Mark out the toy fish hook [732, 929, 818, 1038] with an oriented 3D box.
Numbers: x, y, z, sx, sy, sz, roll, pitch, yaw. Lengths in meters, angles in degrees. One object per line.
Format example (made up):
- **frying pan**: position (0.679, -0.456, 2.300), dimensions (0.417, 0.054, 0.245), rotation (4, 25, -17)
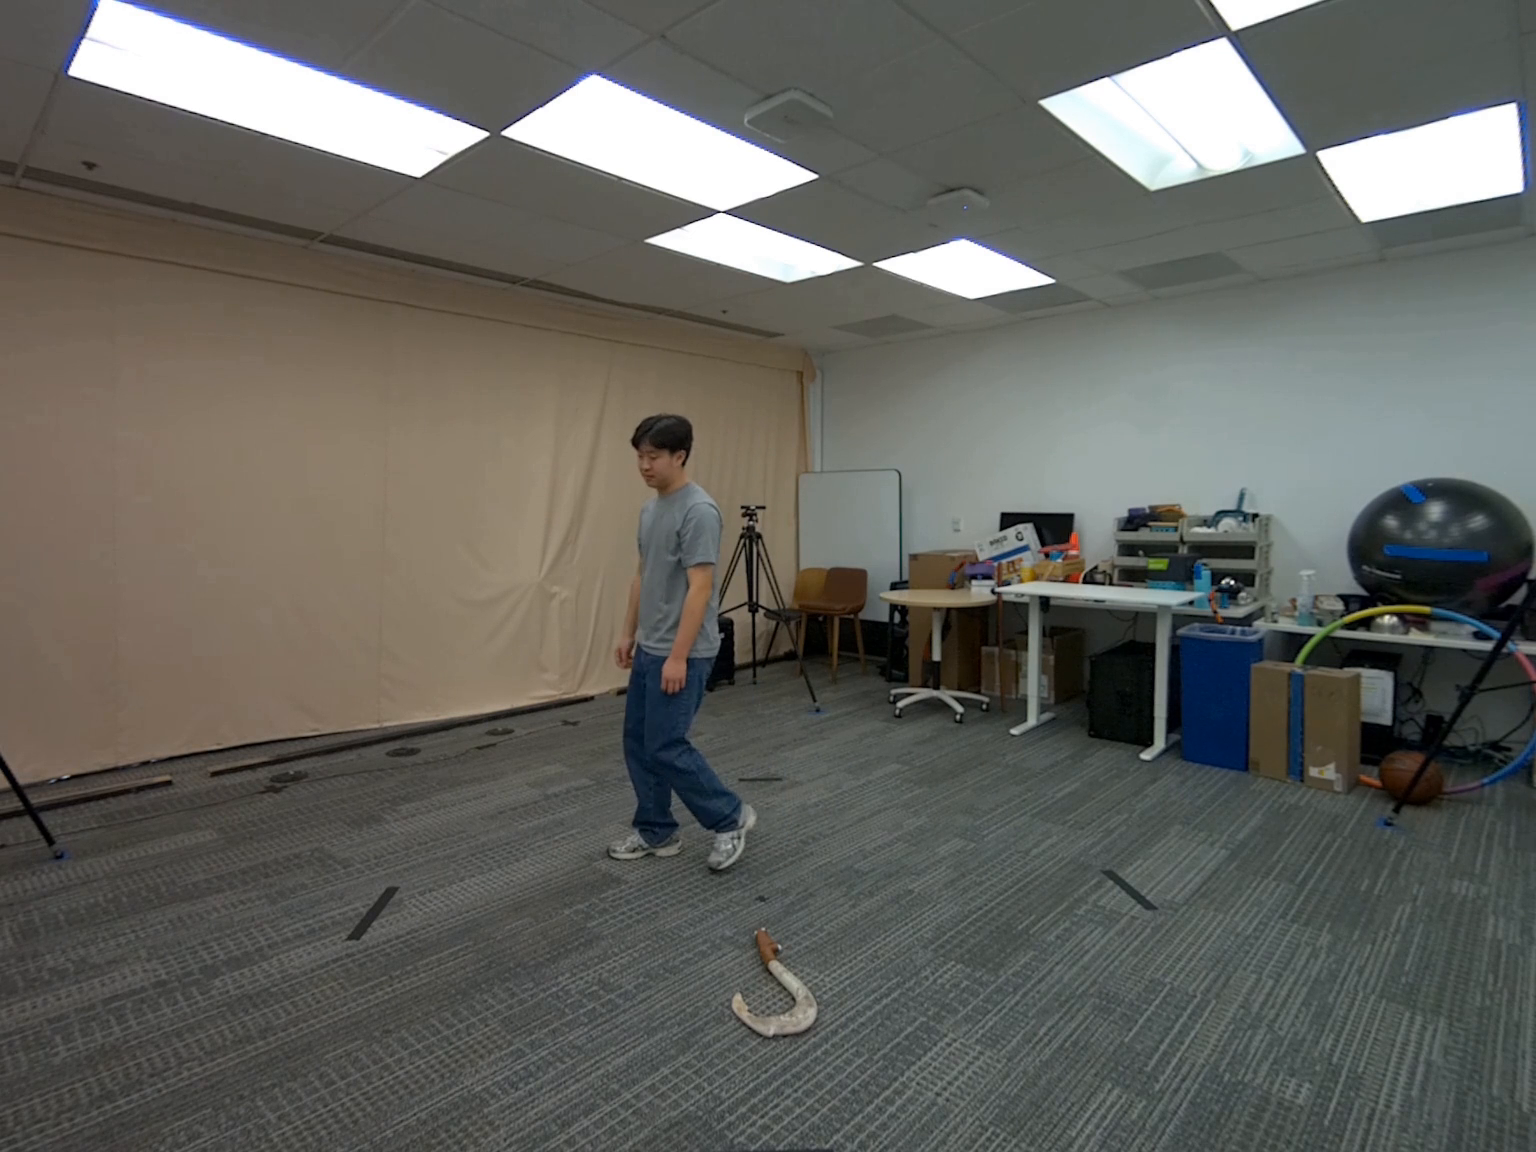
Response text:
- **toy fish hook**: position (-0.010, 1.162, 2.445), dimensions (0.222, 0.048, 0.514), rotation (0, 4, -13)
